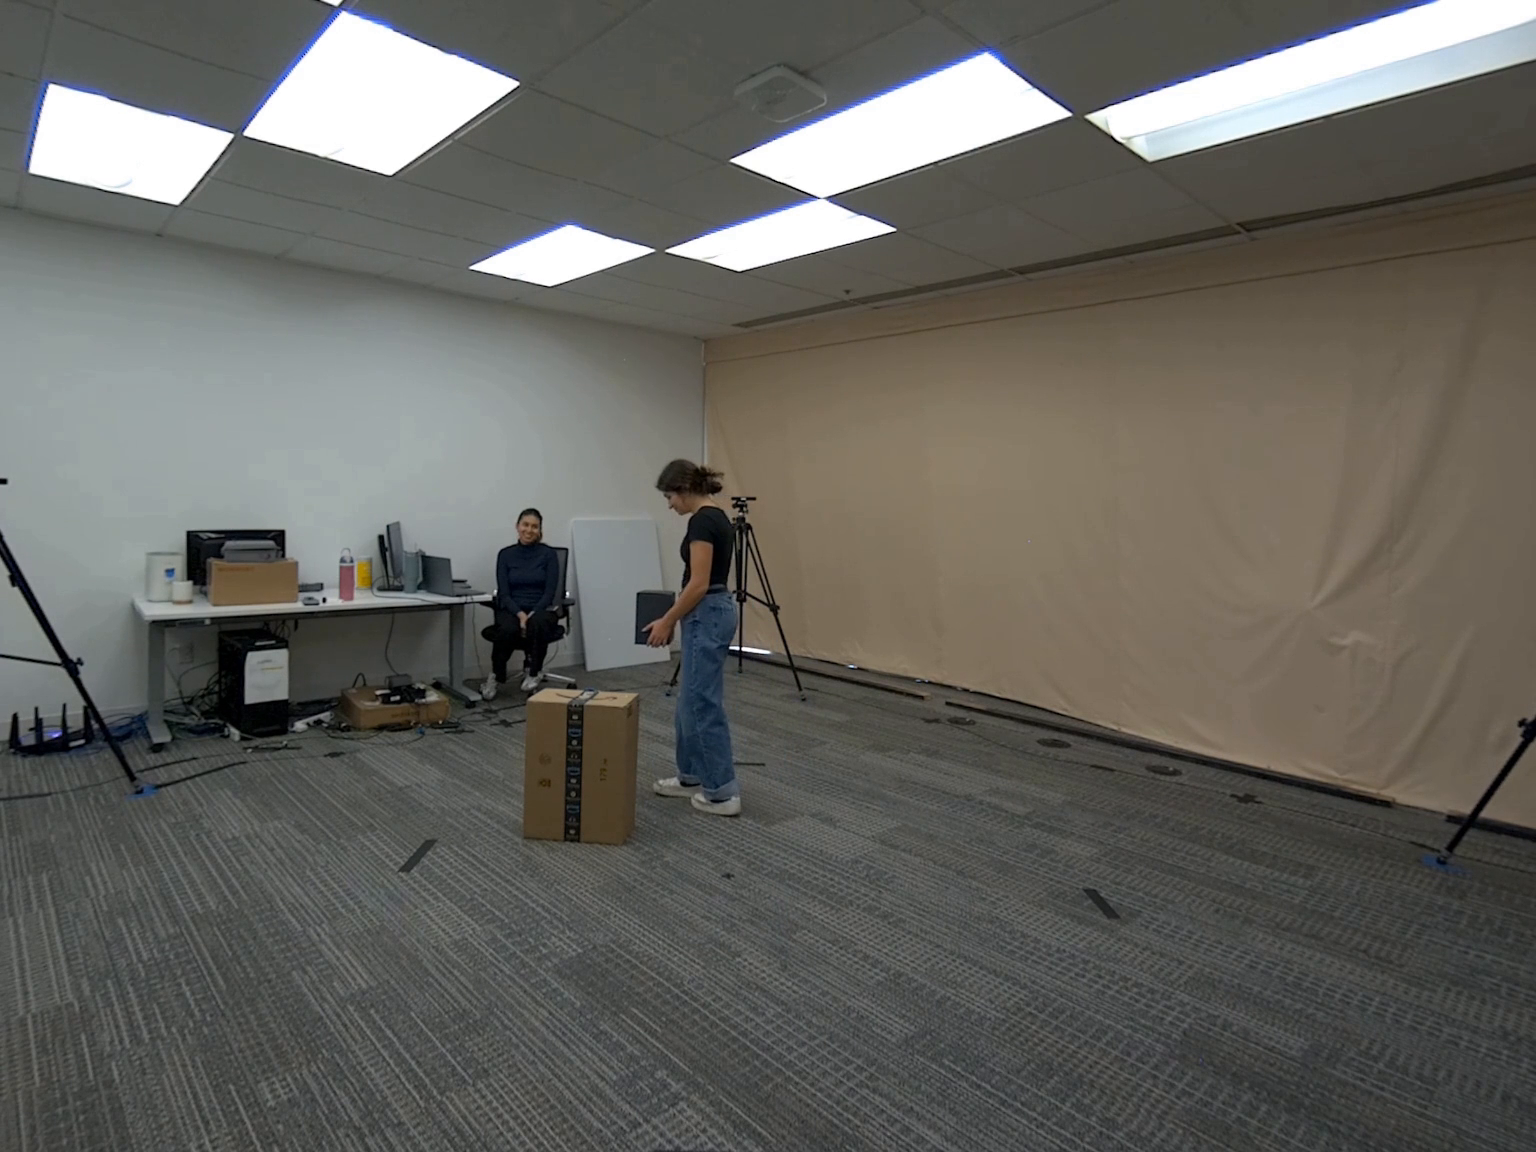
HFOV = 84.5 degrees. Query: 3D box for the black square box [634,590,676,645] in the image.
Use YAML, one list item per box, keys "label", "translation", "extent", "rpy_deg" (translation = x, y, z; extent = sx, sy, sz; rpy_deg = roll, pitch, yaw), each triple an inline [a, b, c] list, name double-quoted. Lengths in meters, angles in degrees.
- label: "black square box"
  translation: [-0.526, 0.177, 3.826]
  extent: [0.155, 0.227, 0.218]
  rpy_deg: [1, 3, -6]
